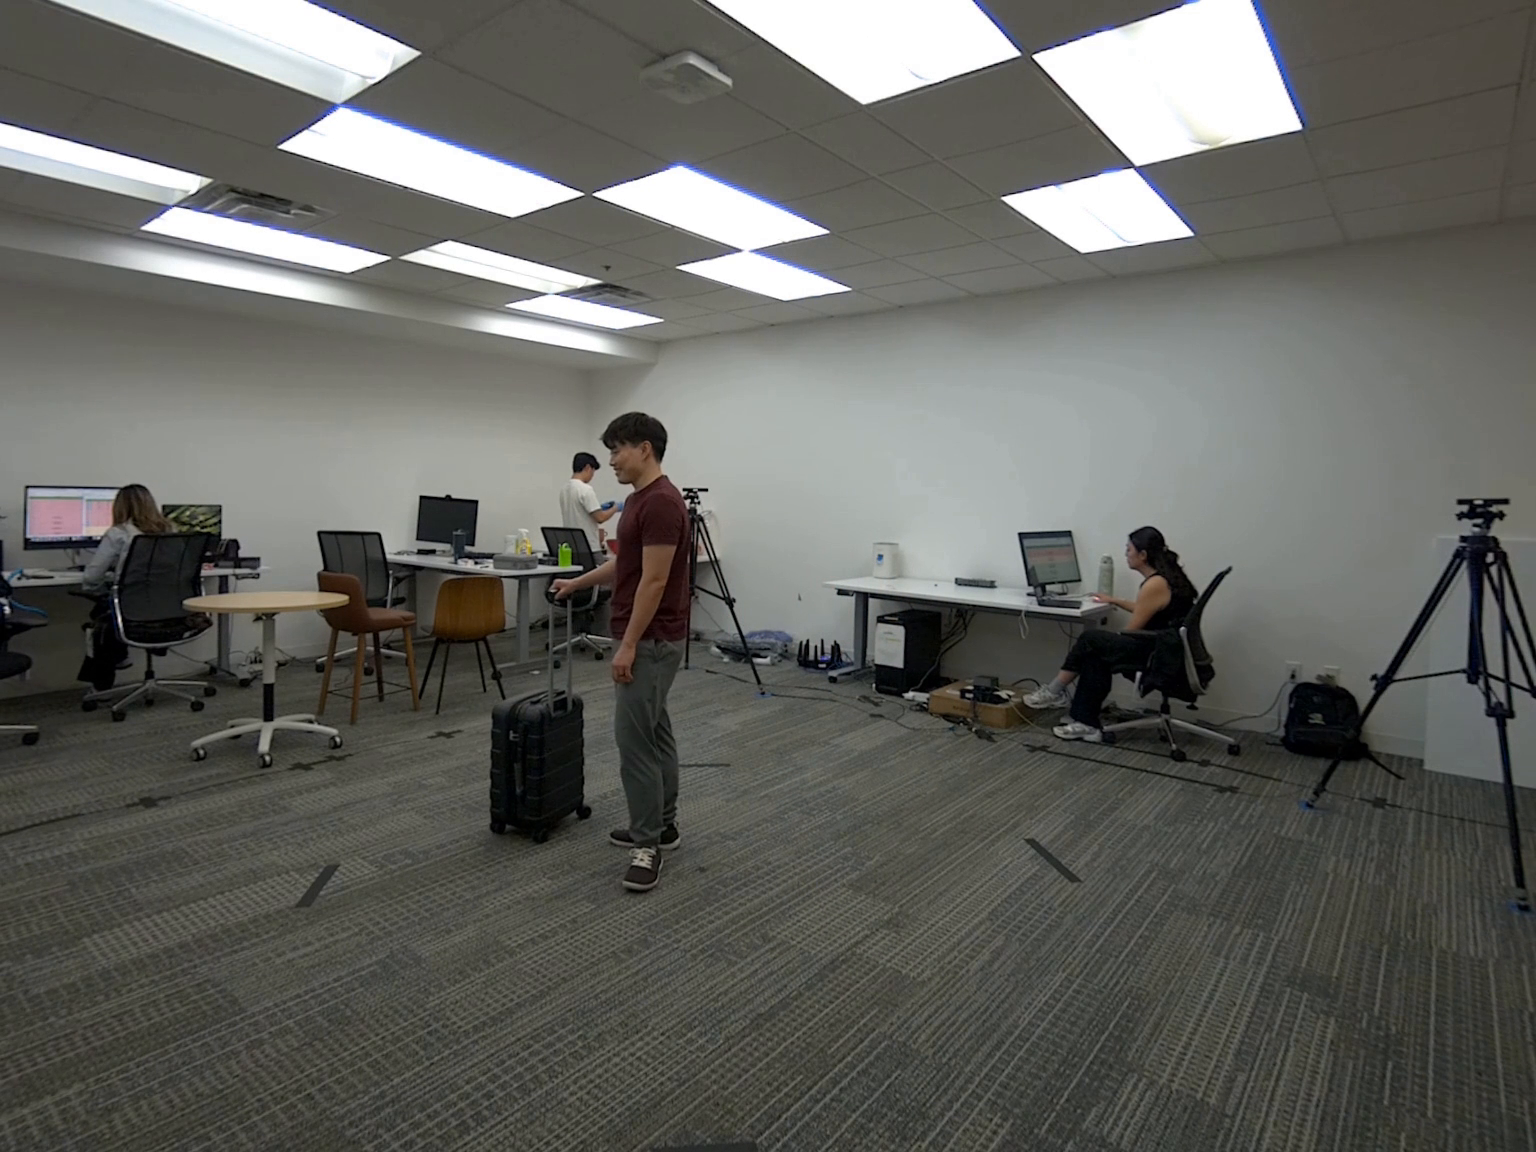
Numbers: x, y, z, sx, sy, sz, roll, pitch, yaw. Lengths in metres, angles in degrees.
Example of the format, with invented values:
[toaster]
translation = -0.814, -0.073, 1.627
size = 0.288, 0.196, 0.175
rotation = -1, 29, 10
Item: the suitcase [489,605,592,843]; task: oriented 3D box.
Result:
[suitcase]
translation = -0.952, 0.550, 3.463
size = 0.263, 0.976, 0.376
rotation = 0, 3, 21
